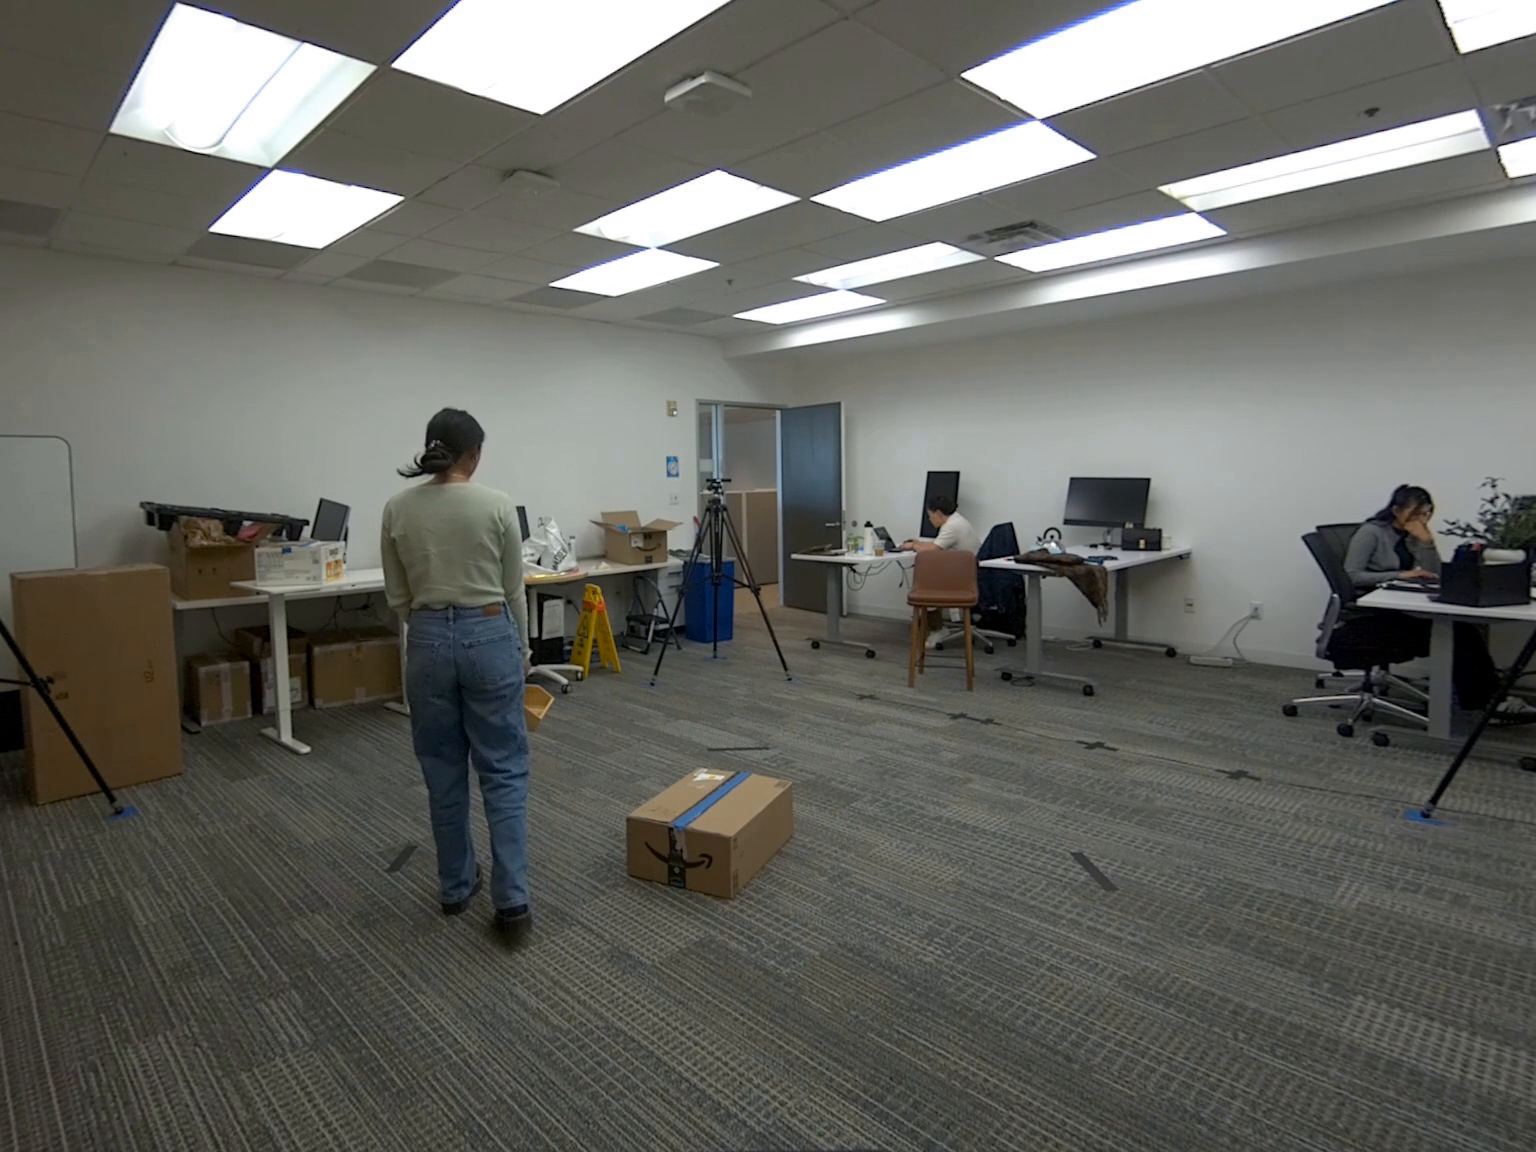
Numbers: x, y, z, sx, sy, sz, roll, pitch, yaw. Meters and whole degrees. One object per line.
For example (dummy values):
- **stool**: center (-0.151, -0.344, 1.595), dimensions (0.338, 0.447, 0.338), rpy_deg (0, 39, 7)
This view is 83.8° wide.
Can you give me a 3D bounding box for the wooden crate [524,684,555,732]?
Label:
- **wooden crate**: center (-0.895, 0.367, 3.029), dimensions (0.301, 0.272, 0.327), rpy_deg (3, 4, -5)
